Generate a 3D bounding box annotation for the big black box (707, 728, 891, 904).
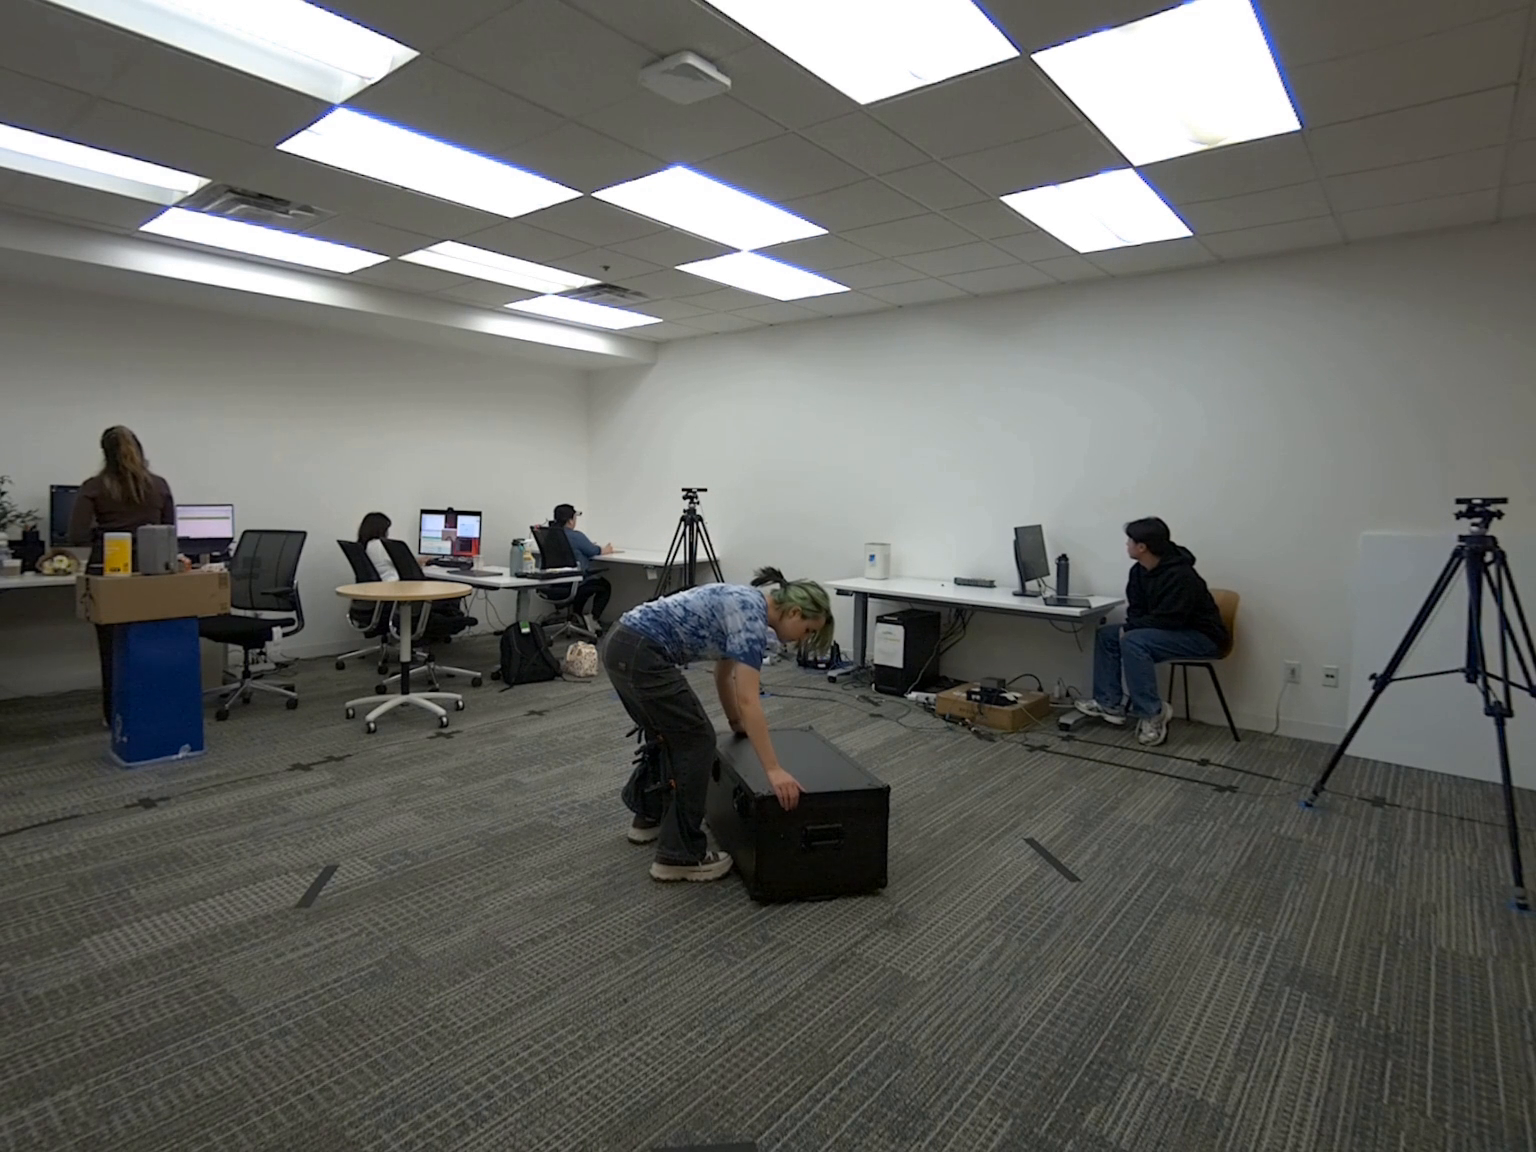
[{"bbox_3d":[0.067,0.866,3.220,0.512,0.395,0.880,-2,6,-18],"label":"big black box"}]
